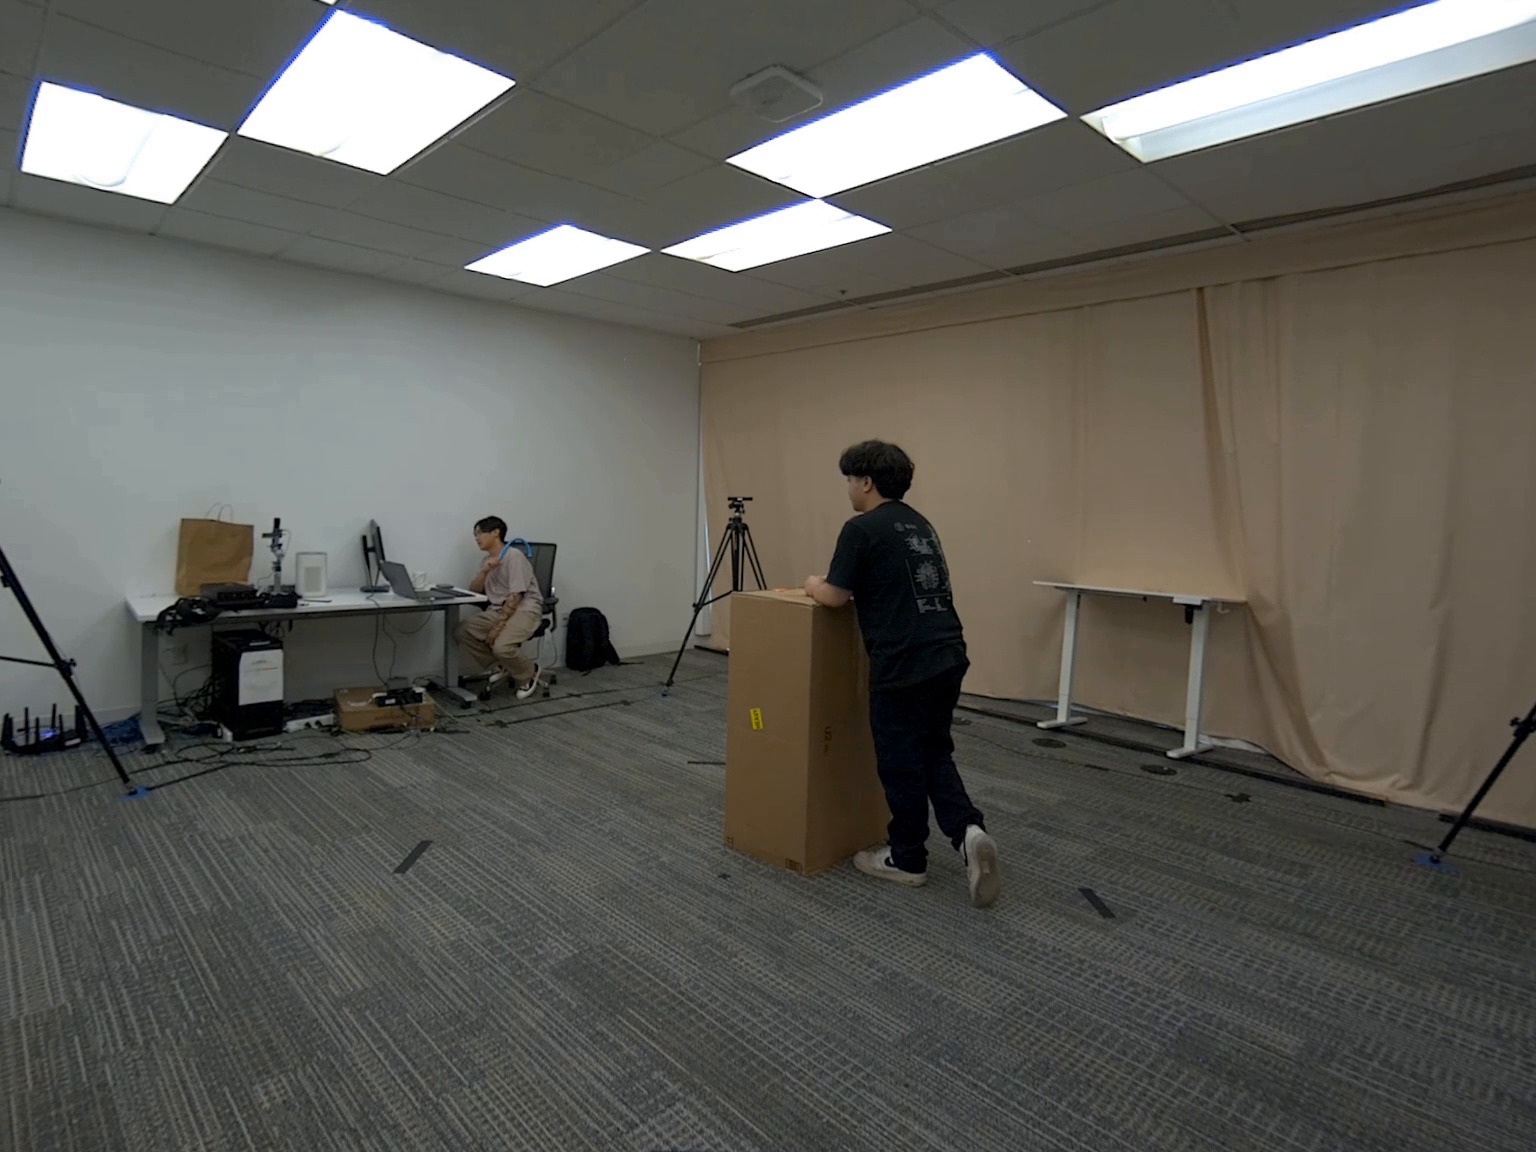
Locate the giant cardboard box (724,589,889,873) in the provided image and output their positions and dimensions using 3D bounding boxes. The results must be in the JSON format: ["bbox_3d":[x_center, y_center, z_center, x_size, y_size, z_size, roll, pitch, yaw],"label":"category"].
[{"bbox_3d":[0.171,0.577,3.438,0.458,1.025,0.570,4,3,44],"label":"giant cardboard box"}]
